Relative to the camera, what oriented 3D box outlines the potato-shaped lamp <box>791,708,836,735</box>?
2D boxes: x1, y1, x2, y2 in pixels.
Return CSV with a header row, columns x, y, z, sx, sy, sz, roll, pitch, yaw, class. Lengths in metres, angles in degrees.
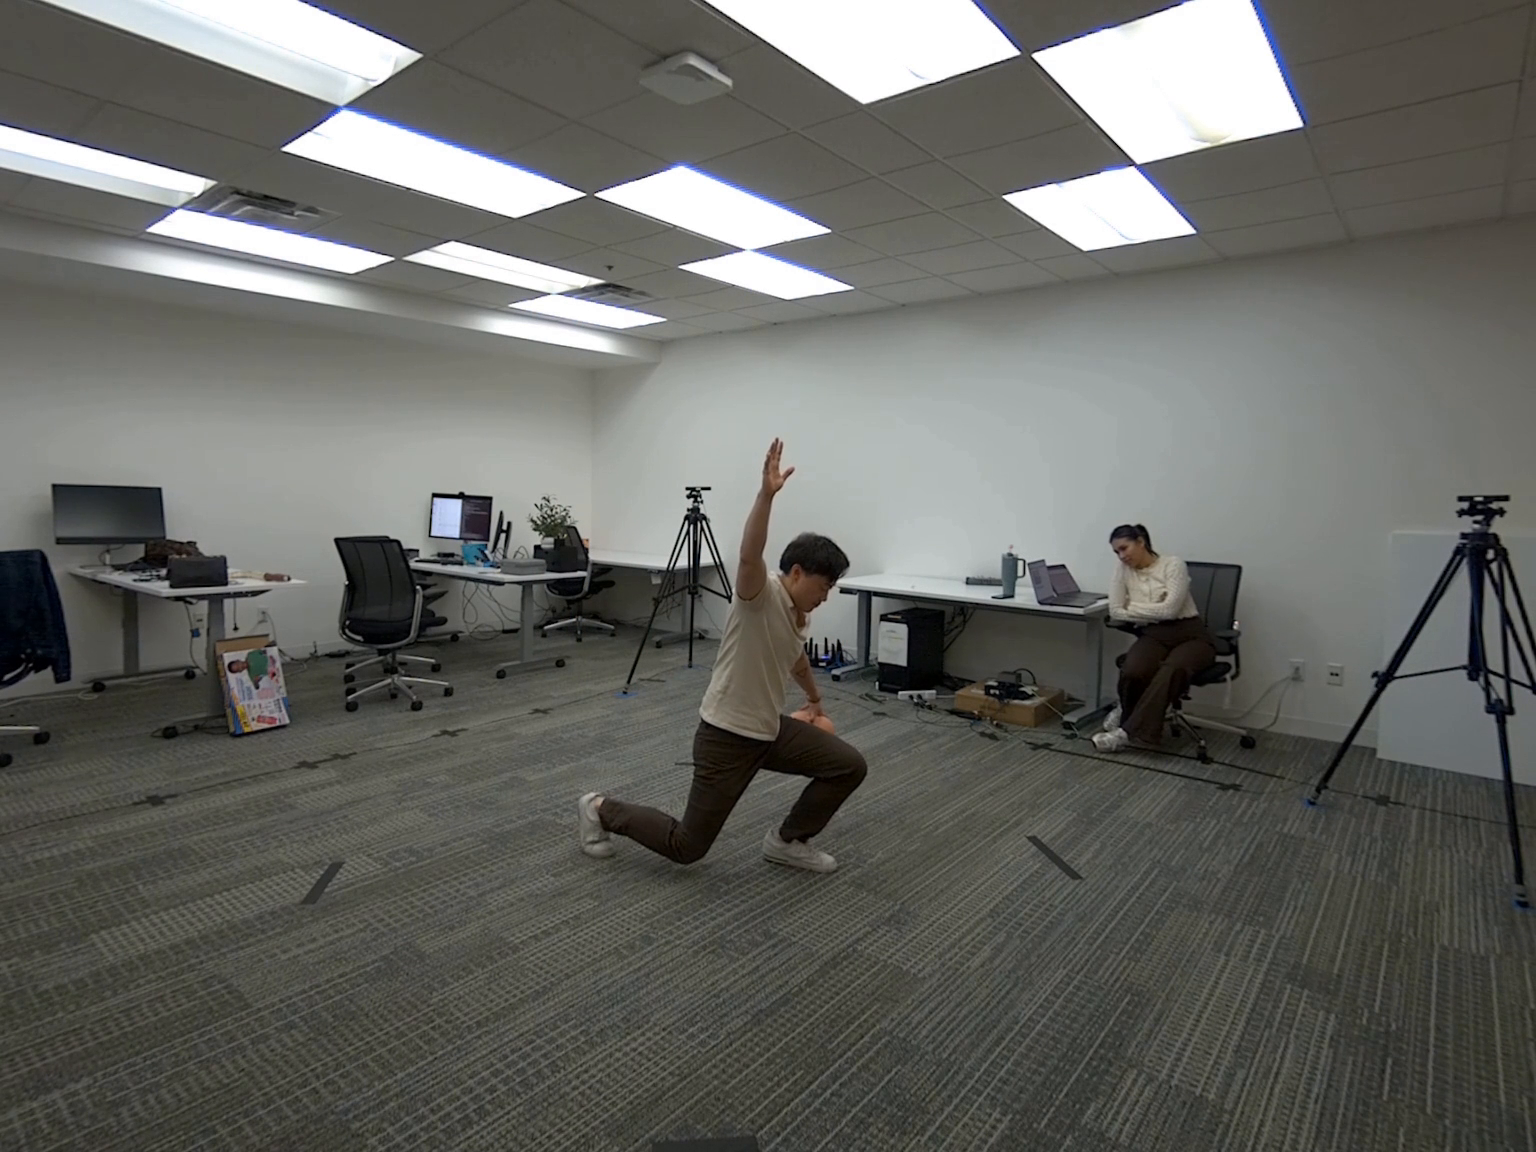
x,y,z,sx,sy,sz,roll,pitch,yaw,class
0.168,0.651,3.579,0.200,0.174,0.160,-7,-17,12,potato-shaped lamp
